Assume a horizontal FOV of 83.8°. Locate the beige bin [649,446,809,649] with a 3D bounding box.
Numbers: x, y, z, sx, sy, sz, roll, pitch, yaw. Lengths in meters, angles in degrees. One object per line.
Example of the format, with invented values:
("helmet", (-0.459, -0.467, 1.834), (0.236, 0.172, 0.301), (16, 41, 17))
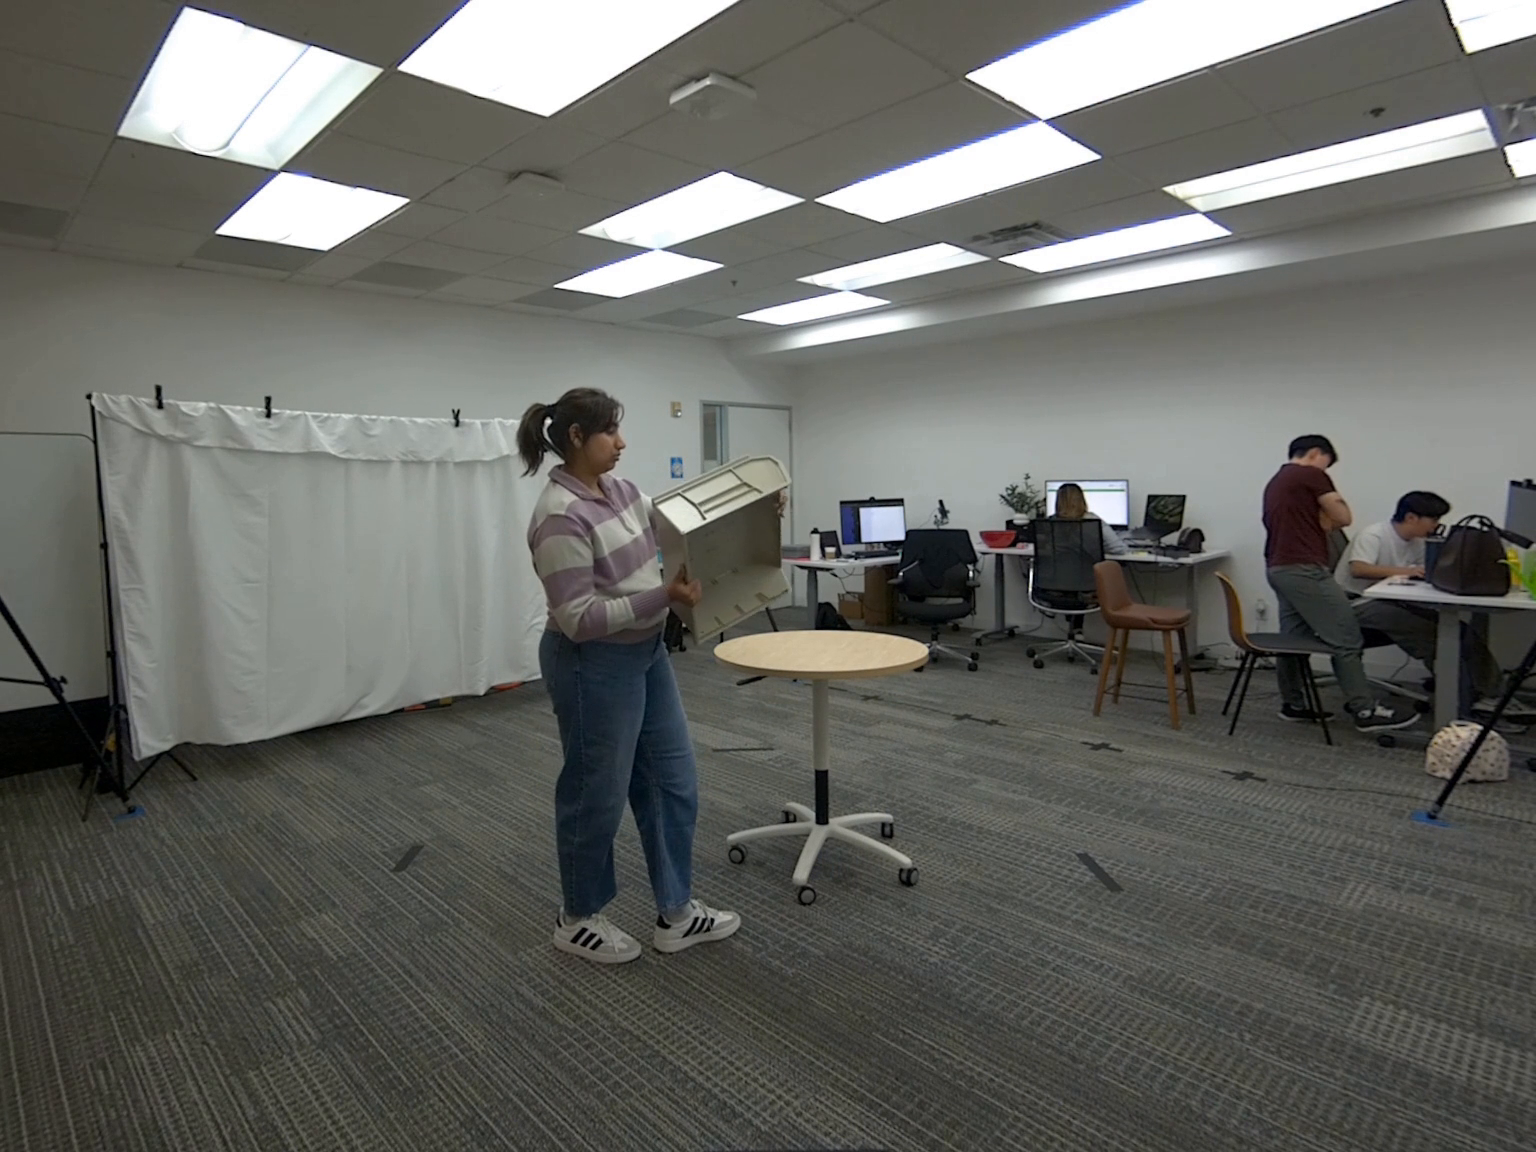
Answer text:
("beige bin", (-0.101, -0.079, 2.397), (0.374, 0.410, 0.196), (-27, 50, -23))
